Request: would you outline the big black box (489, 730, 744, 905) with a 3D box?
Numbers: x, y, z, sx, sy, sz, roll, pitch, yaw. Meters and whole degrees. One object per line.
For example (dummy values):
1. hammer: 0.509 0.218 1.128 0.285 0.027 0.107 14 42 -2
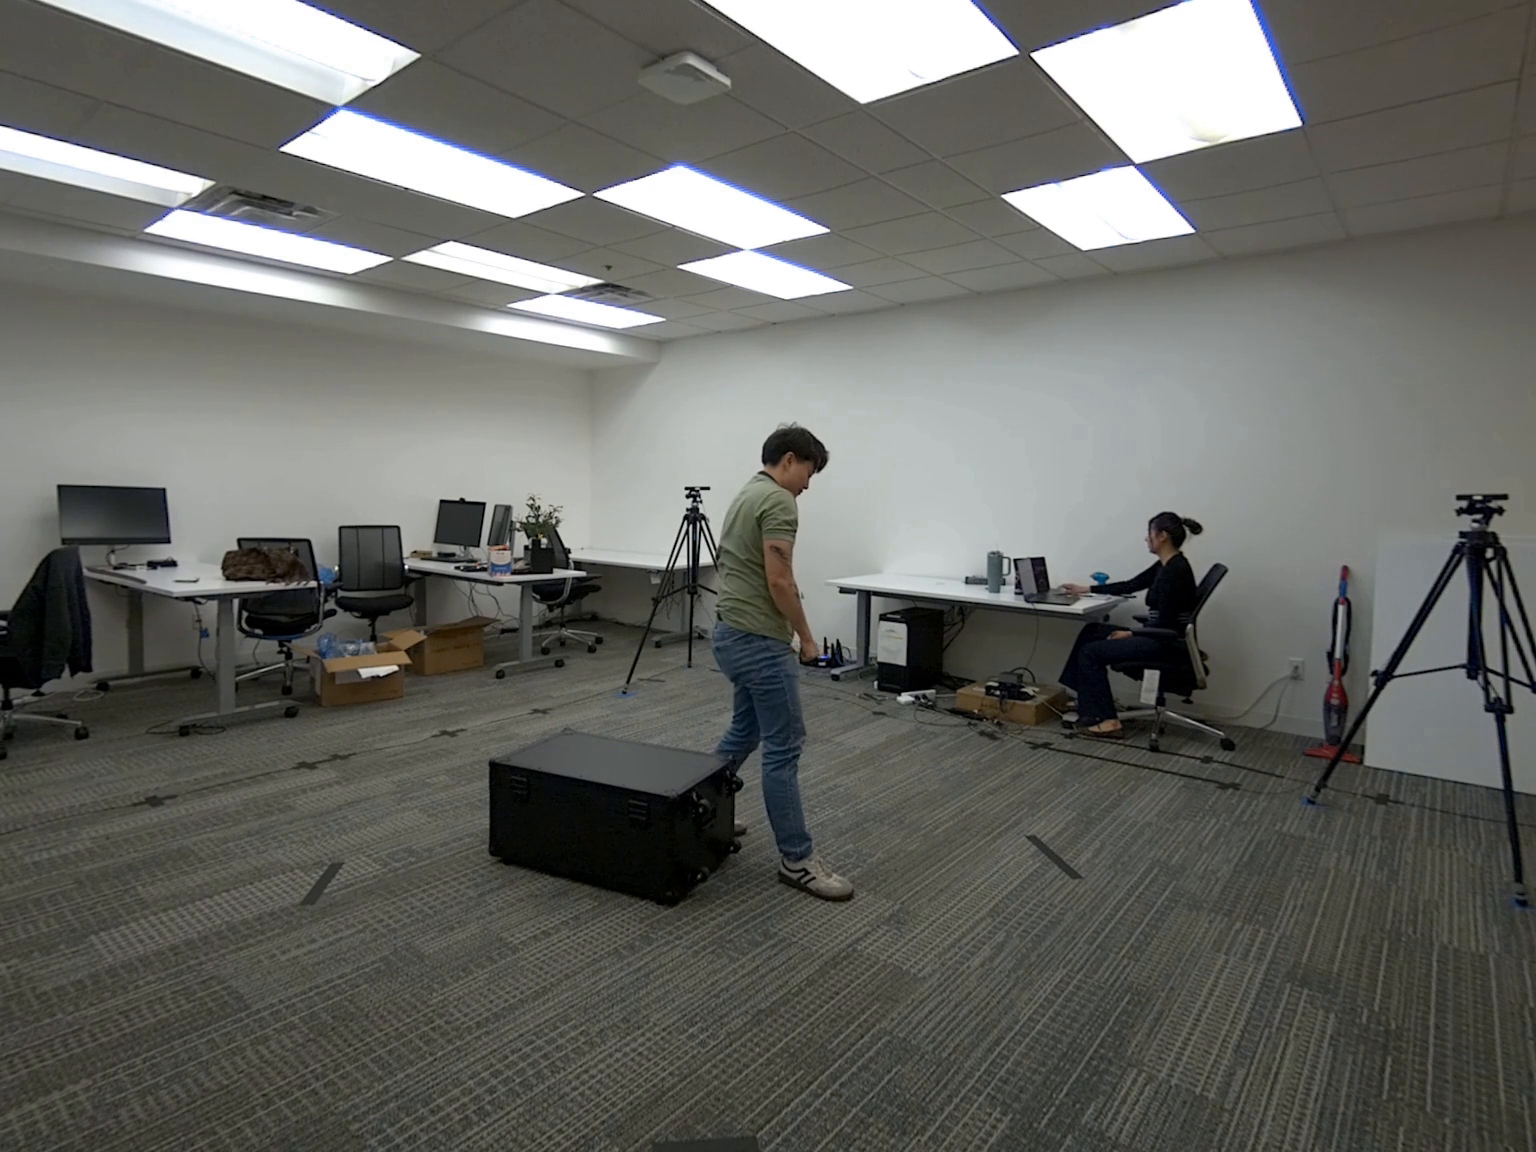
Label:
1. big black box: -0.556 0.862 3.150 0.883 0.395 0.510 3 5 24
